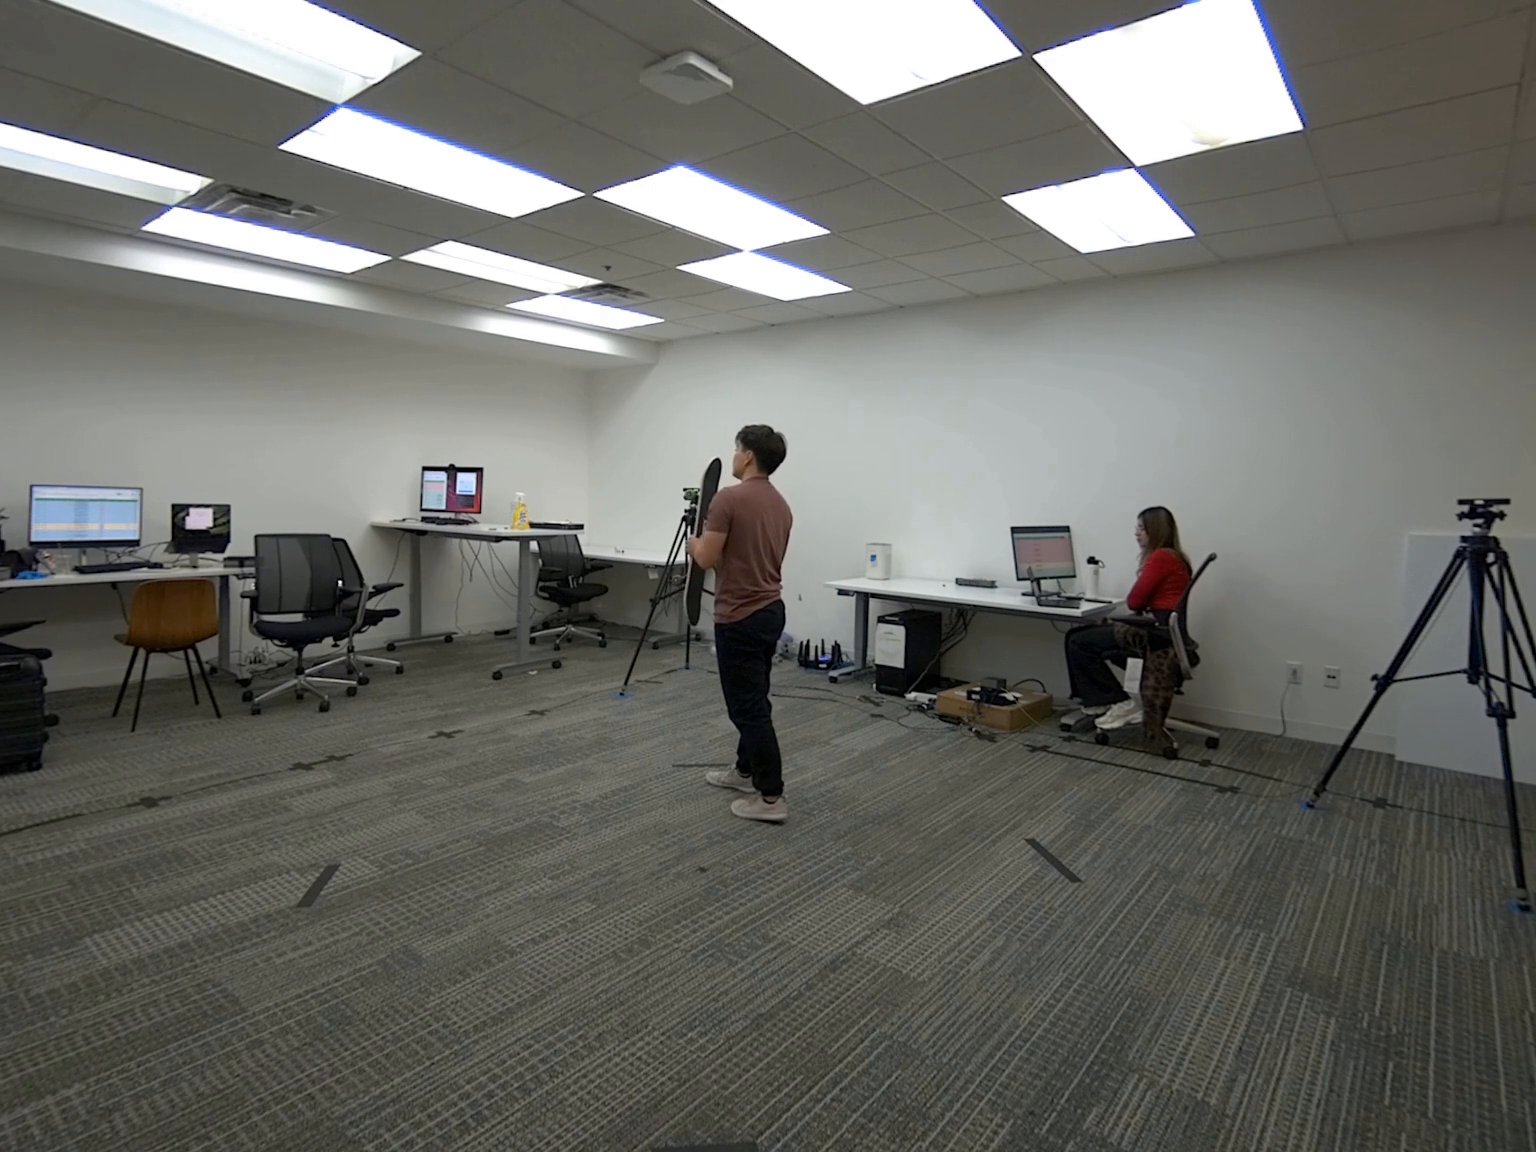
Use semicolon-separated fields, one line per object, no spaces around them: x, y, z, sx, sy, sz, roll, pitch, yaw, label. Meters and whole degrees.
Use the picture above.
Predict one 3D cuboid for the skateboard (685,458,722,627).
-0.344;-0.170;3.960;0.113;0.787;0.189;6;-3;18;skateboard
